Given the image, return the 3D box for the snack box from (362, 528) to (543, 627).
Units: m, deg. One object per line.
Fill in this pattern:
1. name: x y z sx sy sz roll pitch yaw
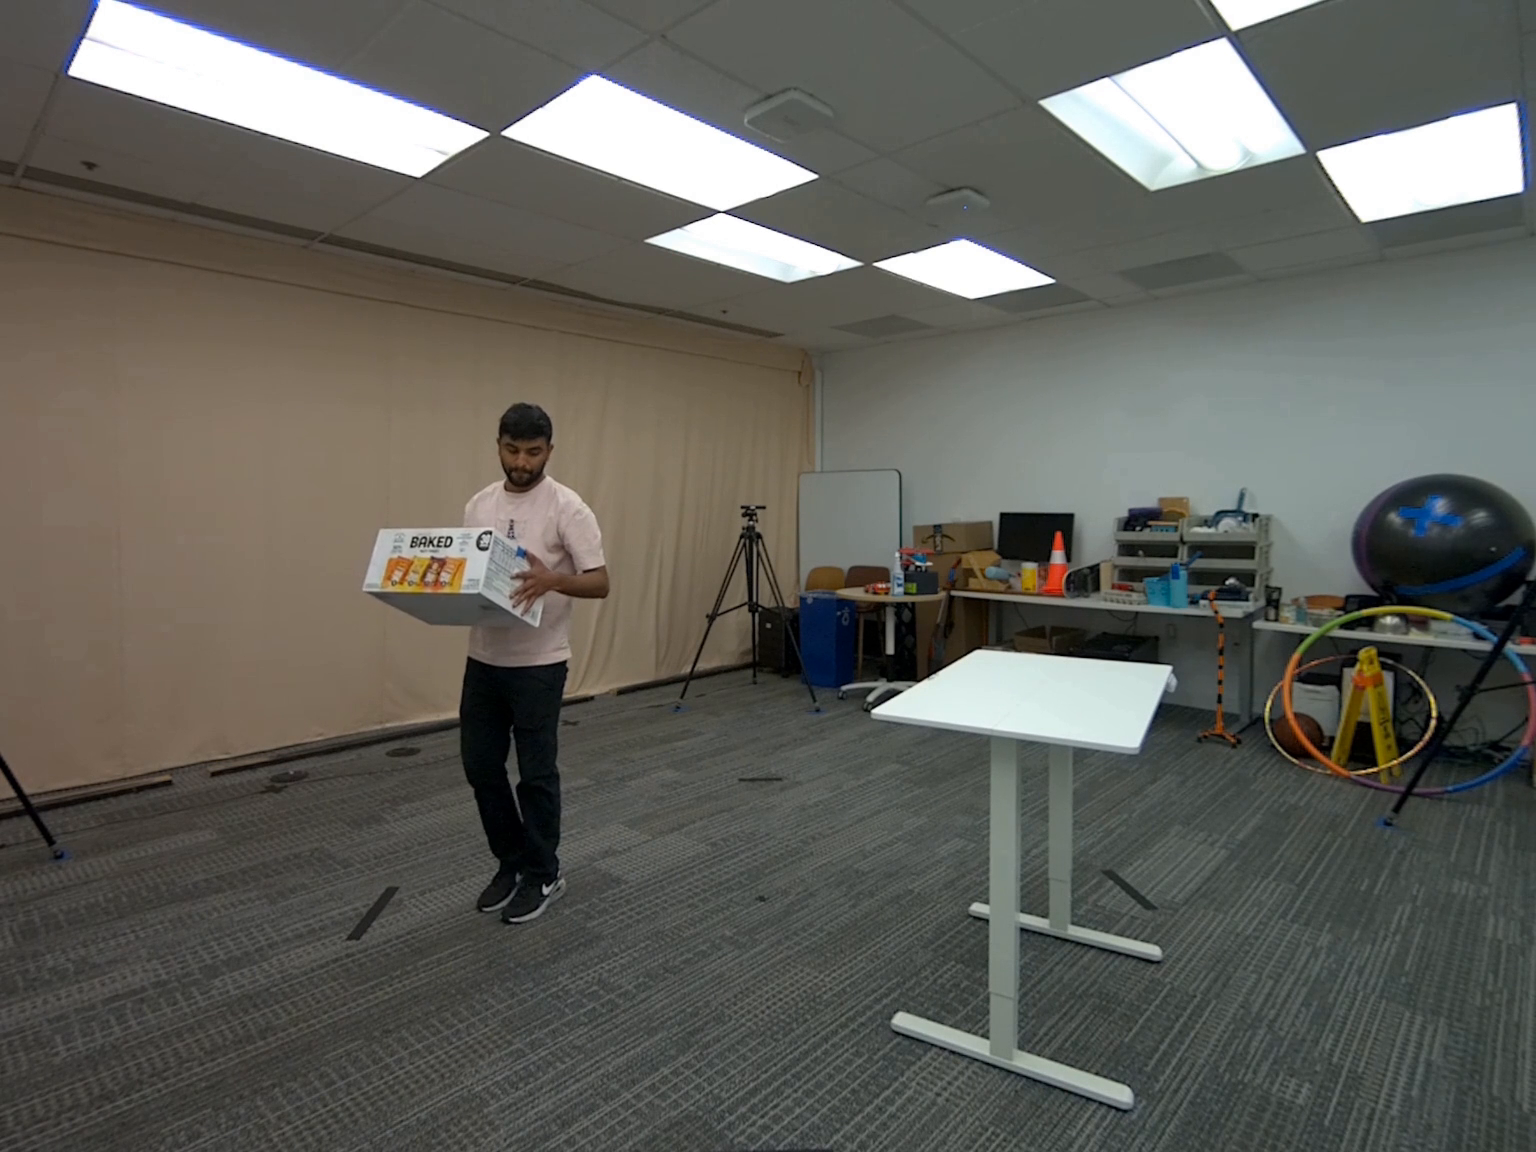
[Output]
1. snack box: -0.951 0.010 2.599 0.413 0.207 0.331 0 -20 18
